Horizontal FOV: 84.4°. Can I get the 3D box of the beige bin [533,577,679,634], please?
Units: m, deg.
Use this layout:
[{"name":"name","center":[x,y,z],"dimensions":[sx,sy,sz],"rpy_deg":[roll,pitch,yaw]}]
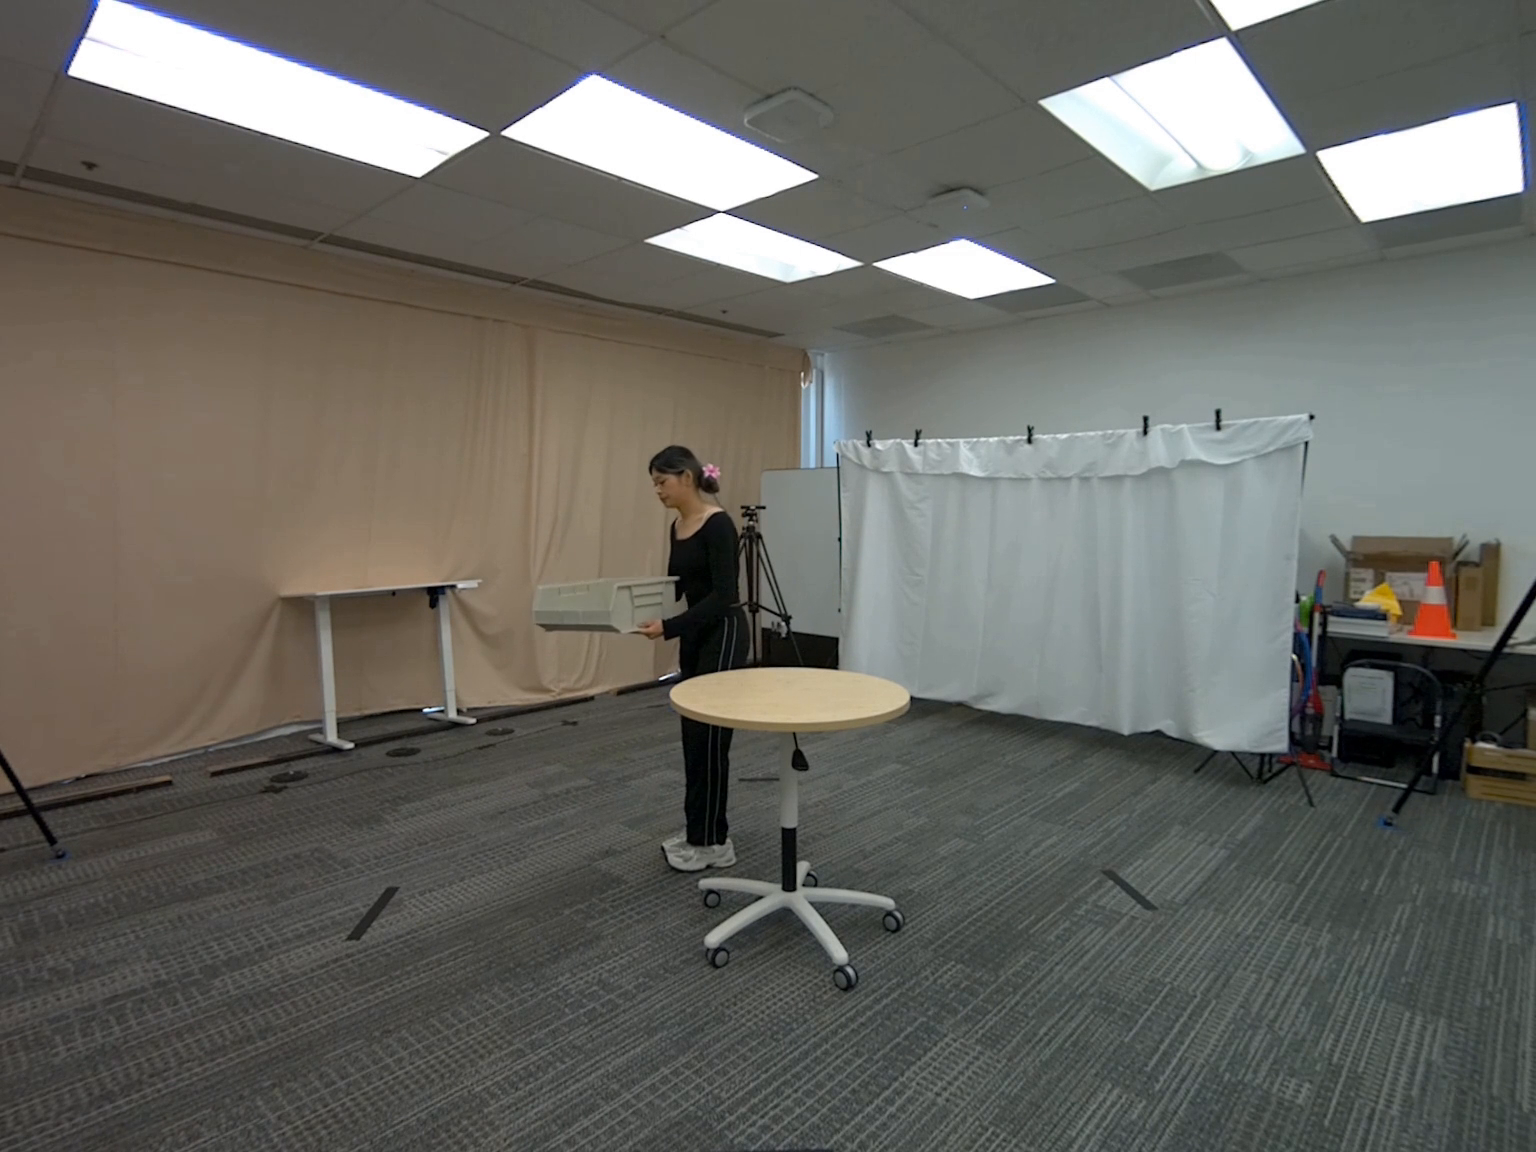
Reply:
[{"name":"beige bin","center":[-0.618,0.113,3.173],"dimensions":[0.434,0.189,0.367],"rpy_deg":[-2,1,30]}]
